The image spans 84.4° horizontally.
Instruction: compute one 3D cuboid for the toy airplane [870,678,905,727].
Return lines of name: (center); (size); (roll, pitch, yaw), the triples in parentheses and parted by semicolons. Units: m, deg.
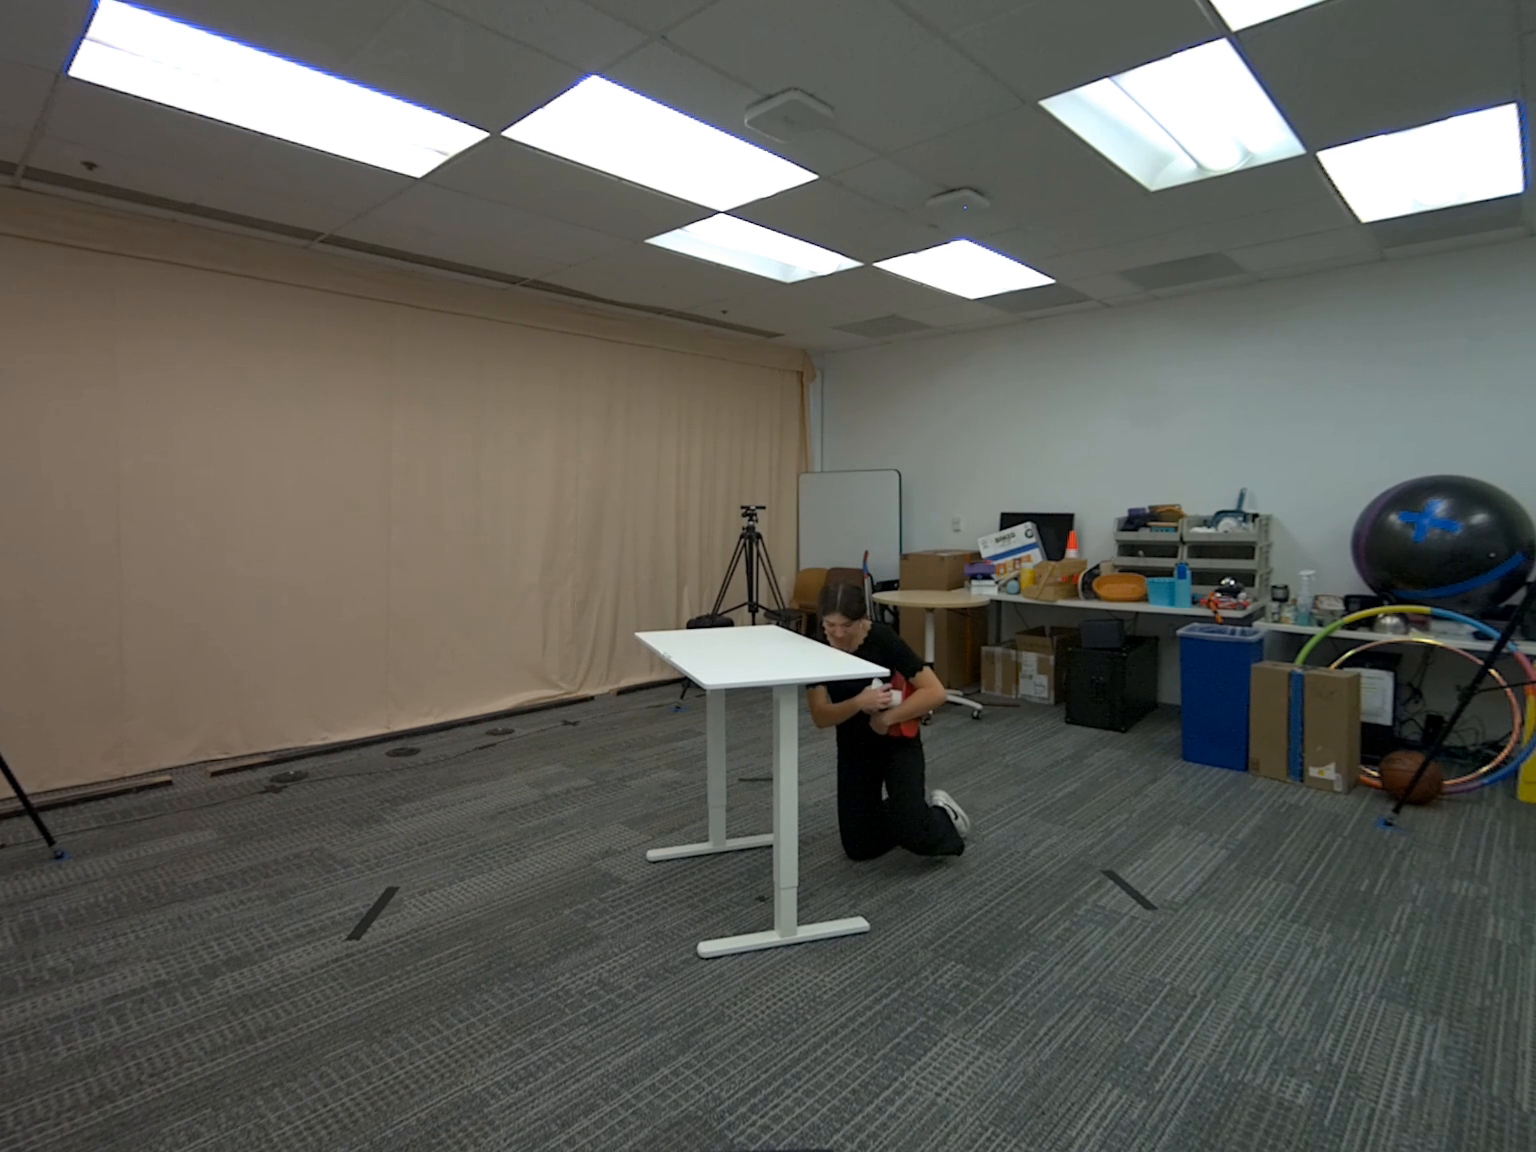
toy airplane: (0.518, 0.457, 3.215); (0.249, 0.258, 0.158); (-50, 6, -28)
